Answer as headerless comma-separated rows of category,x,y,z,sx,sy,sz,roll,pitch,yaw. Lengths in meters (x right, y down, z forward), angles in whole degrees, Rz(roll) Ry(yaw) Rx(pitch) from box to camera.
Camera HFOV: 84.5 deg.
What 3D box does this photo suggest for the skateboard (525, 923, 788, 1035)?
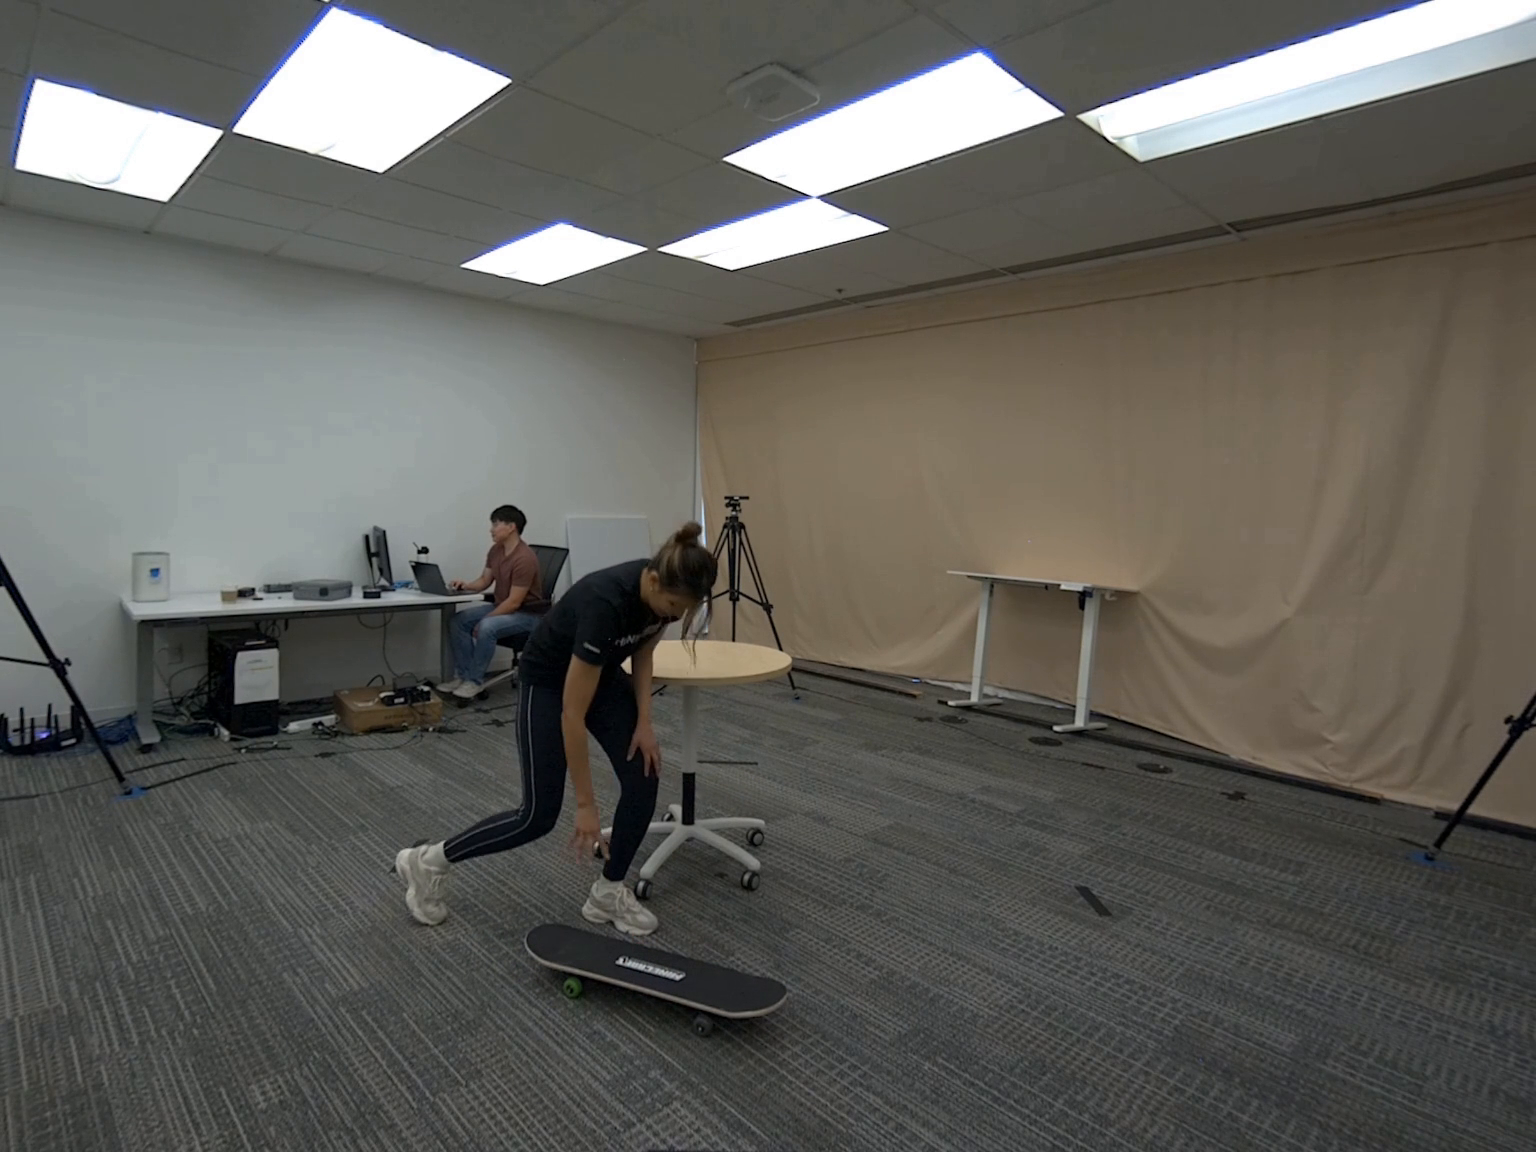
skateboard,-0.333,1.118,2.321,0.799,0.110,0.190,3,4,22
